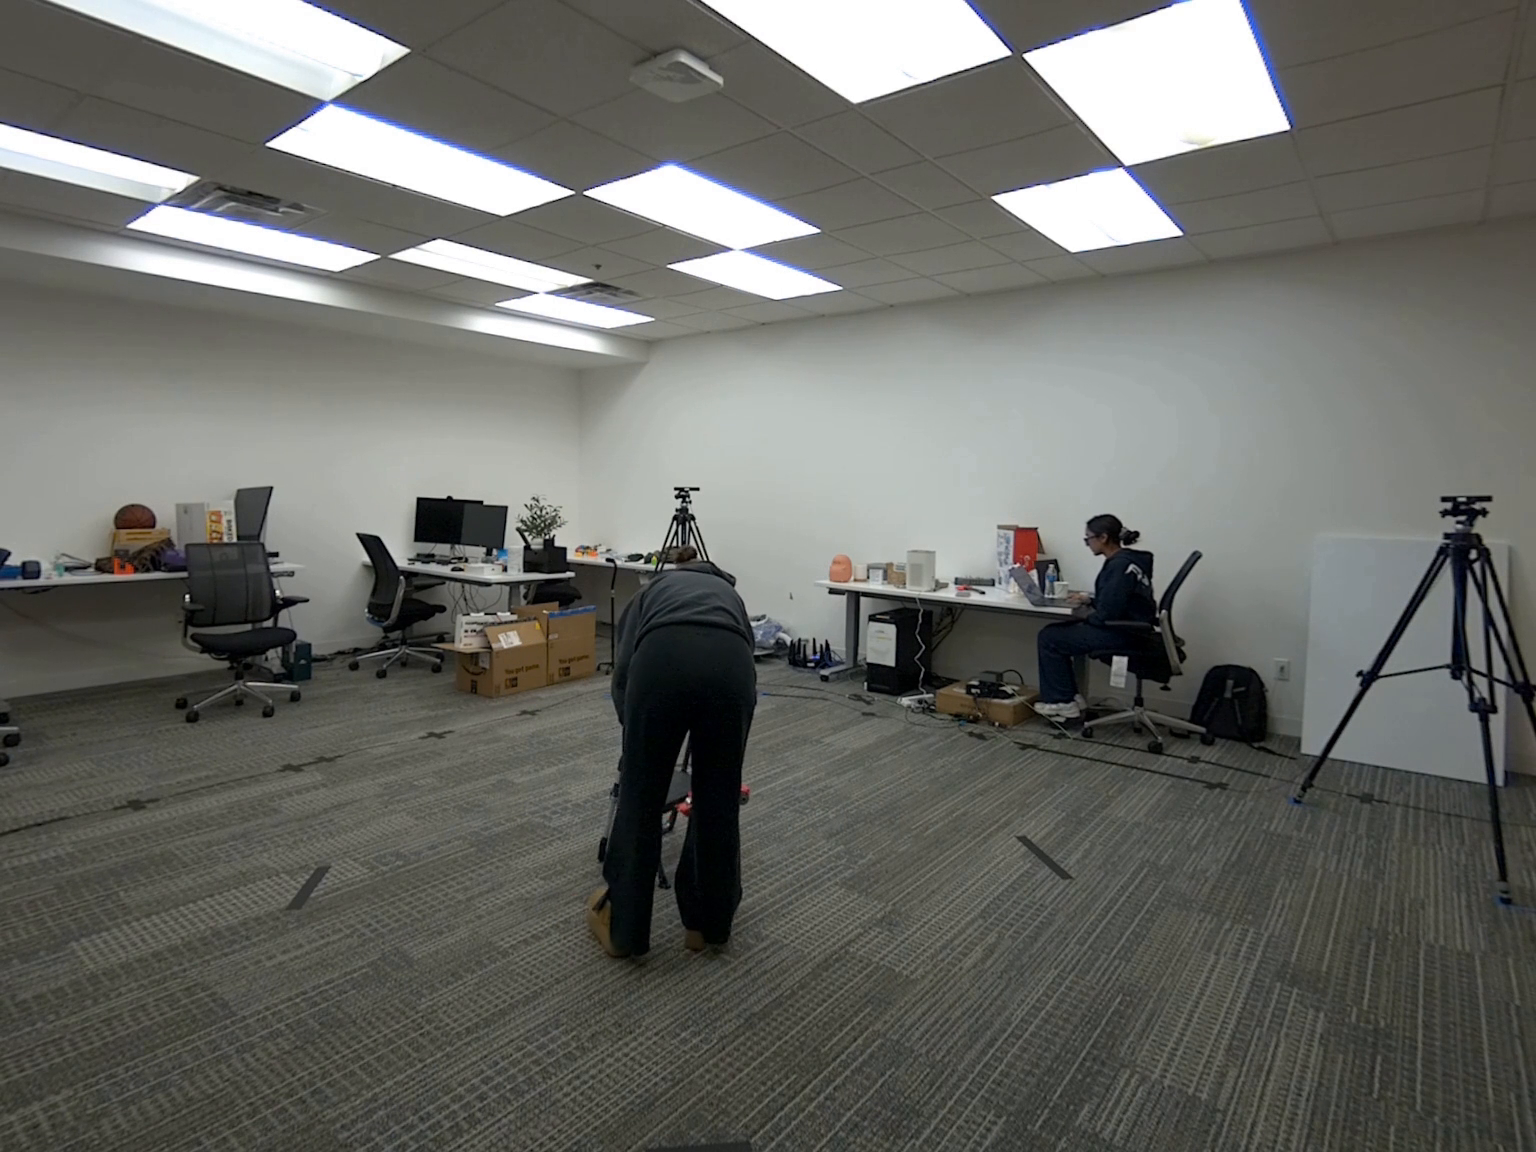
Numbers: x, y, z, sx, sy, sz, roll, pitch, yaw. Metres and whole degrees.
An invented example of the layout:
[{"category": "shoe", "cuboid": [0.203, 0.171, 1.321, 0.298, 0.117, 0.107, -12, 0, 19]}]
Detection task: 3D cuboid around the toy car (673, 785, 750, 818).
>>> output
[{"category": "toy car", "cuboid": [-0.198, 0.776, 2.889, 0.251, 0.083, 0.132, -5, -1, -14]}]
